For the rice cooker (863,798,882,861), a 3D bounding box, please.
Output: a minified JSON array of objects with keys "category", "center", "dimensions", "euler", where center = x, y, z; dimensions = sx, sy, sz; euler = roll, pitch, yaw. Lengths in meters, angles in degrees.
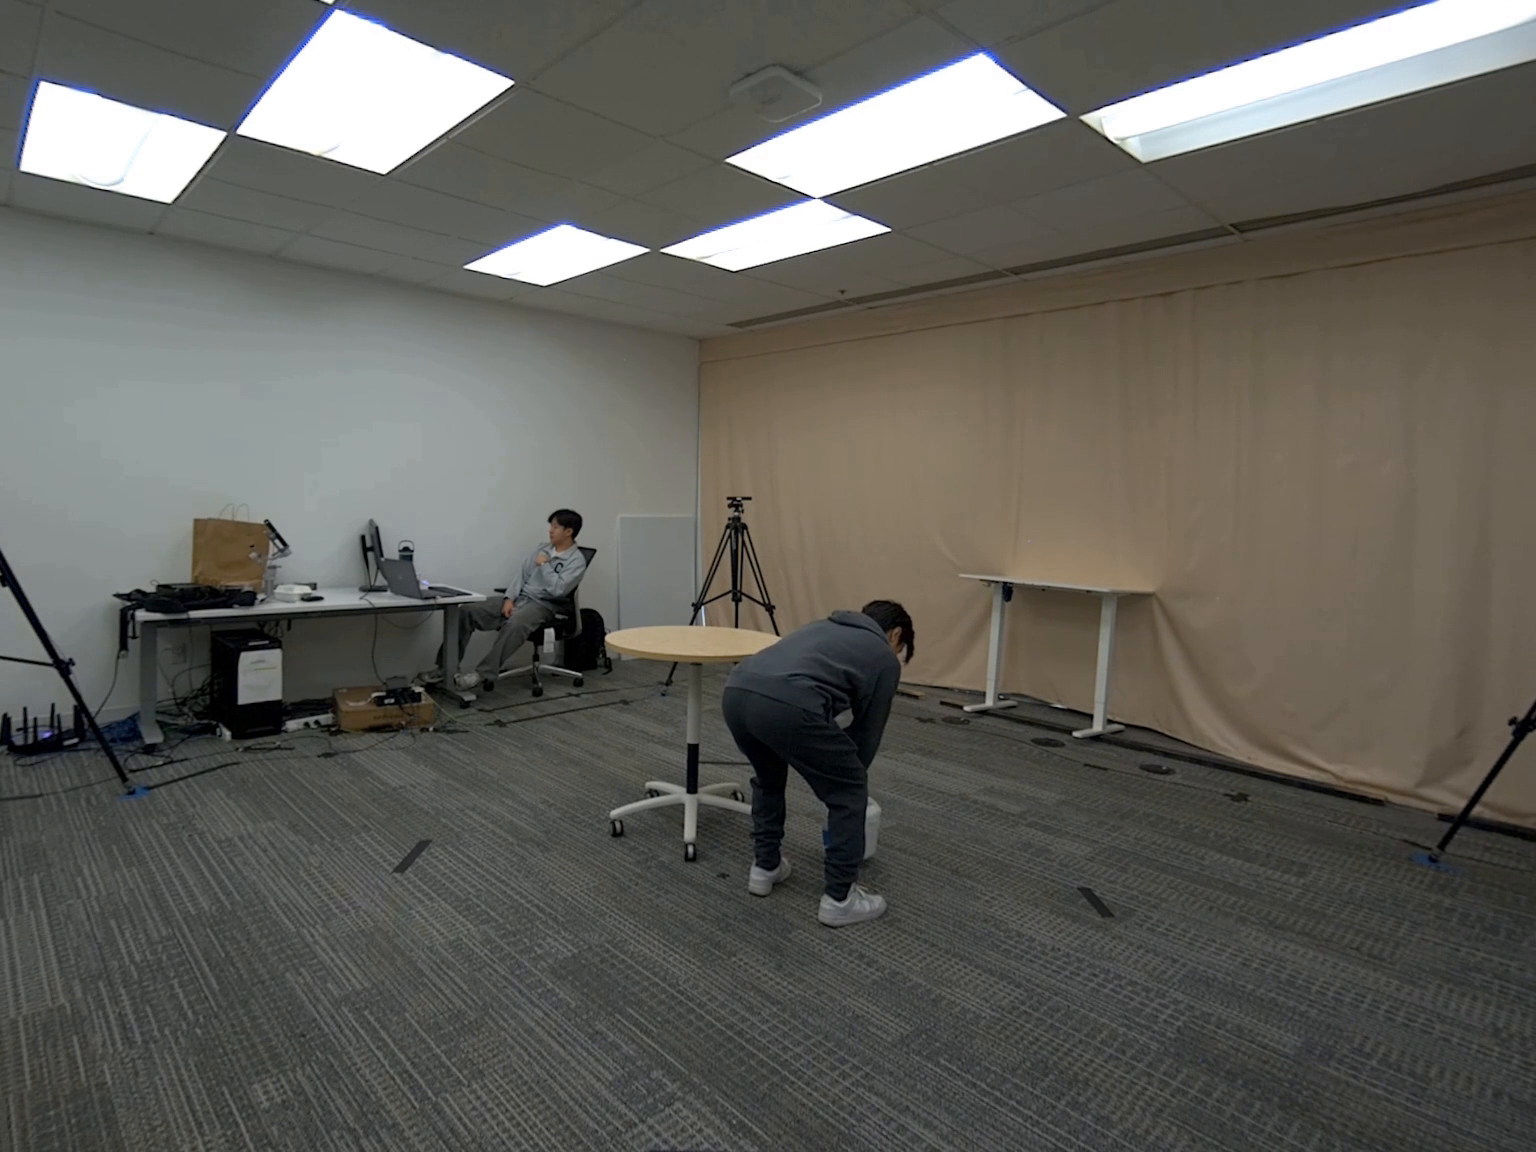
[{"category":"rice cooker","center":[0.322,0.953,3.243],"dimensions":[0.223,0.232,0.216],"euler":[4,7,13]}]
